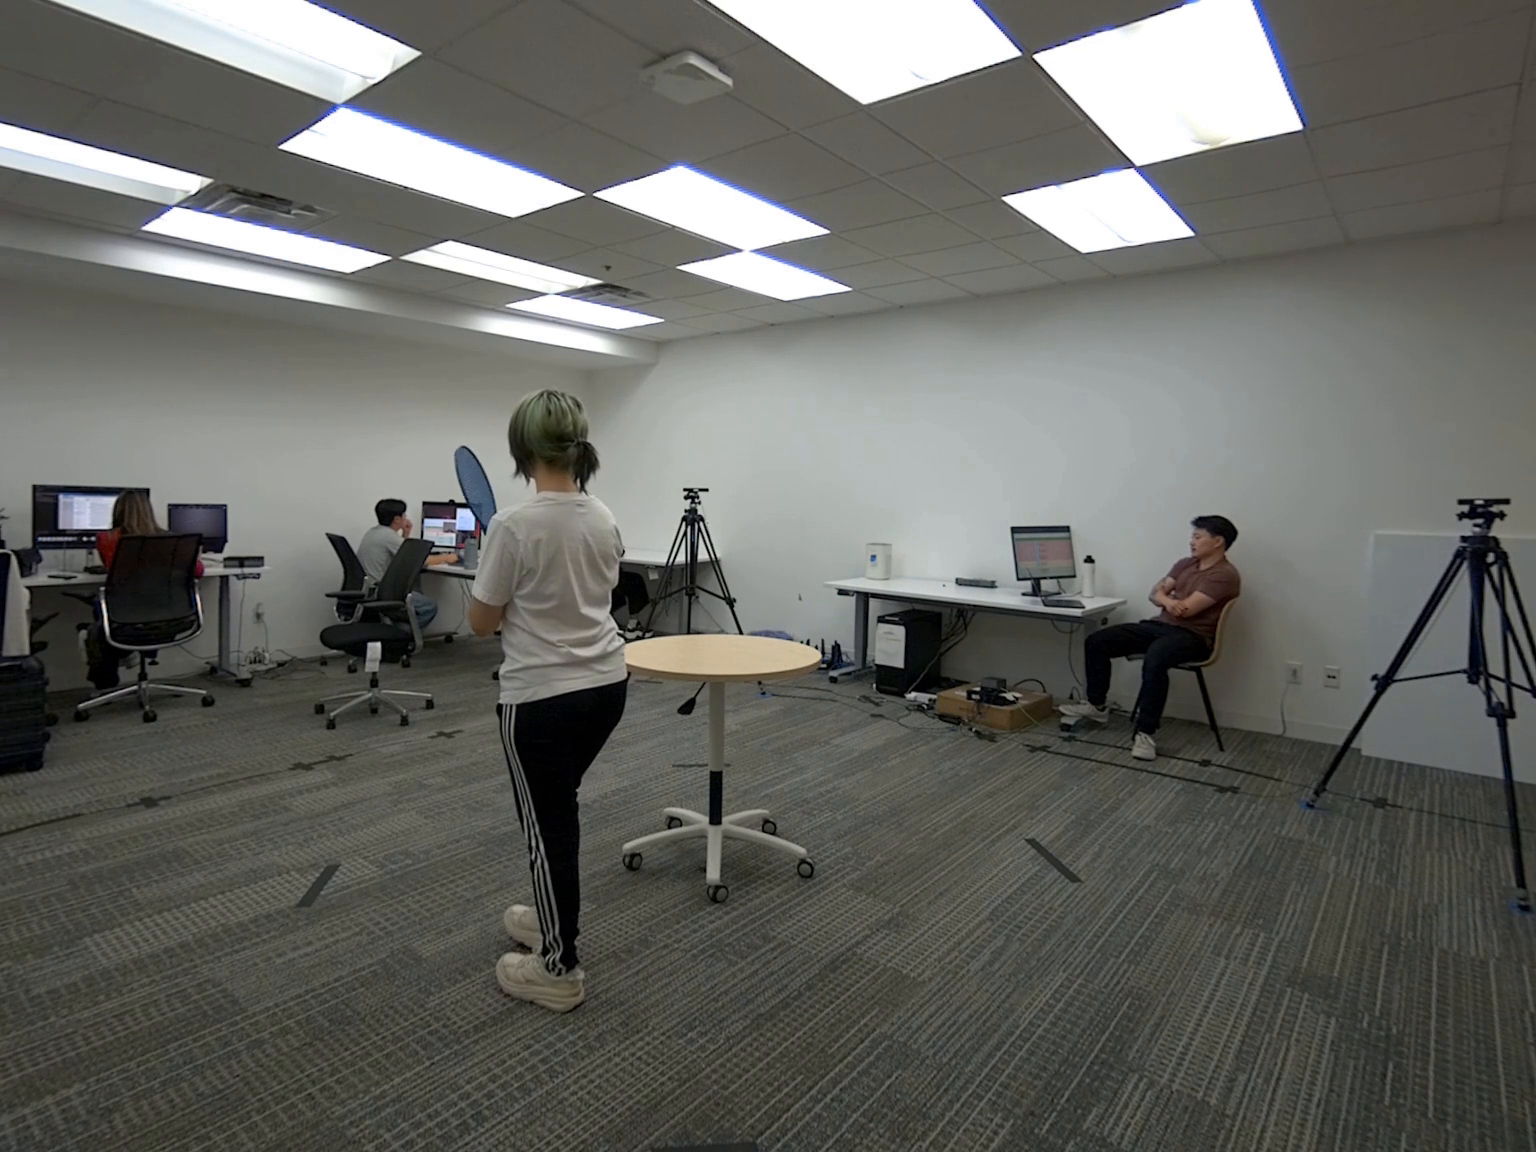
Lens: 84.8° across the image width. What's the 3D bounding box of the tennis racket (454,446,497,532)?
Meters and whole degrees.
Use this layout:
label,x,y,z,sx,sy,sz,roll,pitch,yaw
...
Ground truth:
label,x,y,z,sx,sy,sz,roll,pitch,yaw
tennis racket,-0.850,-0.191,2.505,0.032,0.441,0.209,-19,-14,3
